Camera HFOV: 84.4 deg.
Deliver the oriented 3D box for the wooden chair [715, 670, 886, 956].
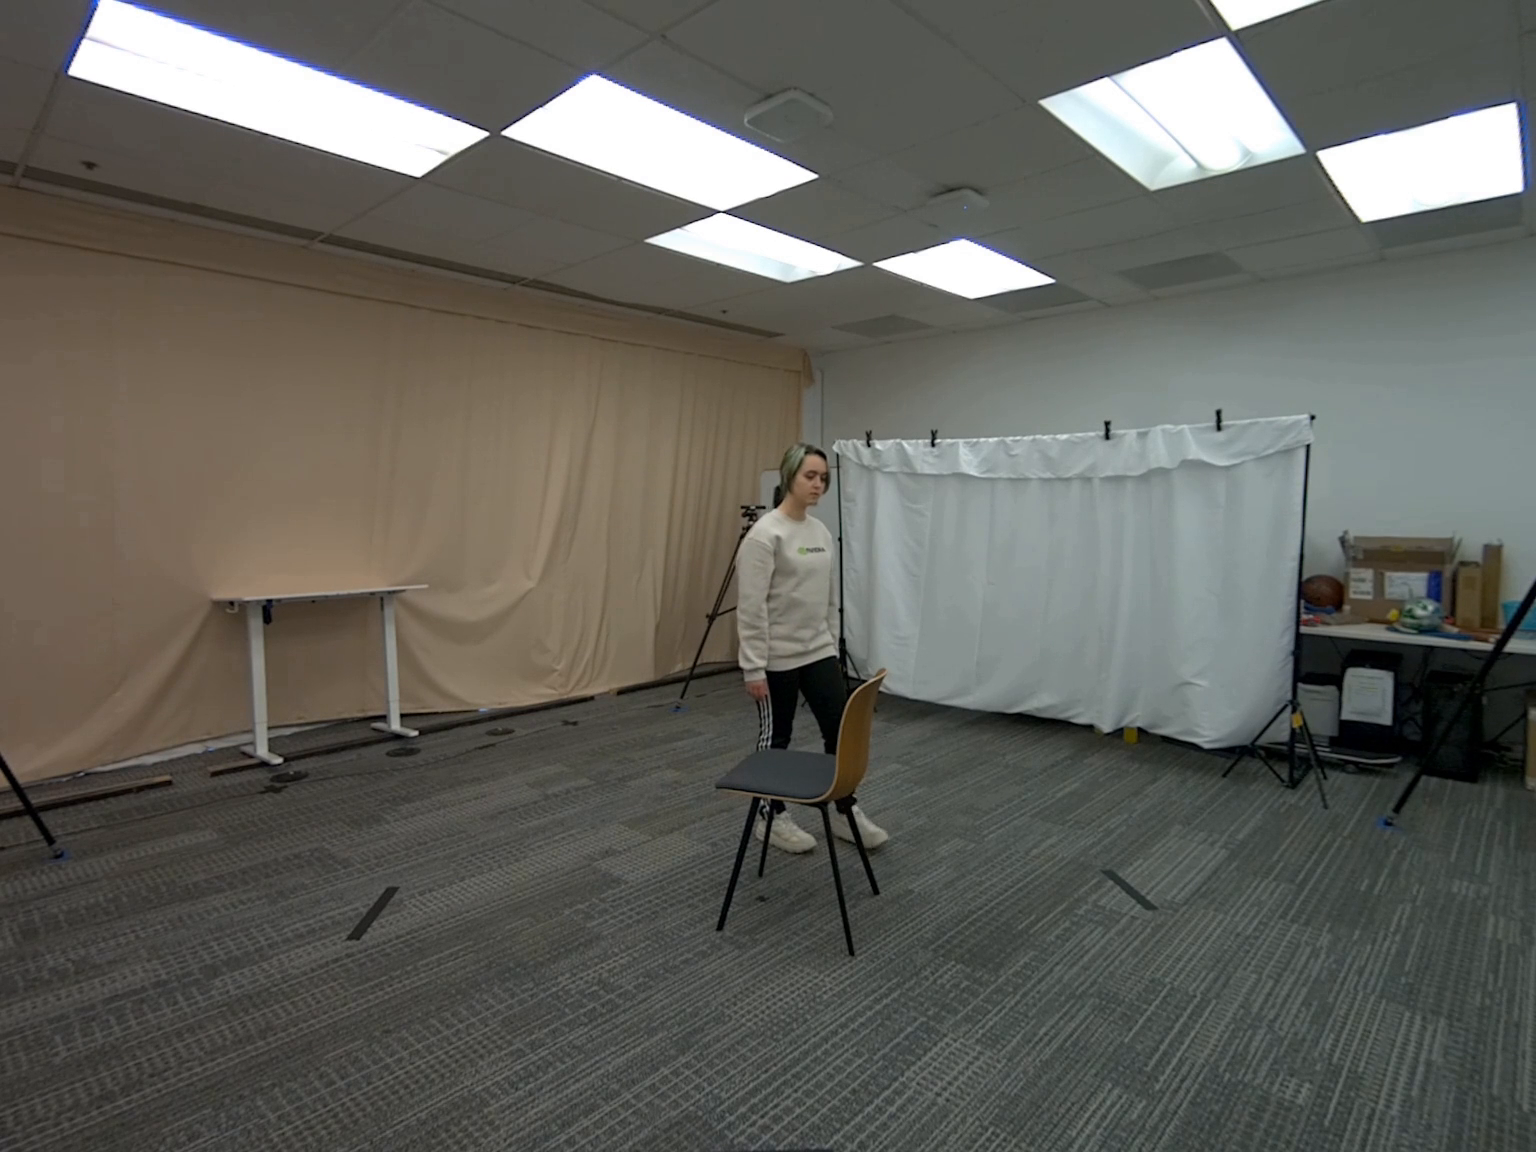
[{"bbox_3d":[0.104,0.721,2.860,0.535,0.875,0.469,6,5,20],"label":"wooden chair"}]
